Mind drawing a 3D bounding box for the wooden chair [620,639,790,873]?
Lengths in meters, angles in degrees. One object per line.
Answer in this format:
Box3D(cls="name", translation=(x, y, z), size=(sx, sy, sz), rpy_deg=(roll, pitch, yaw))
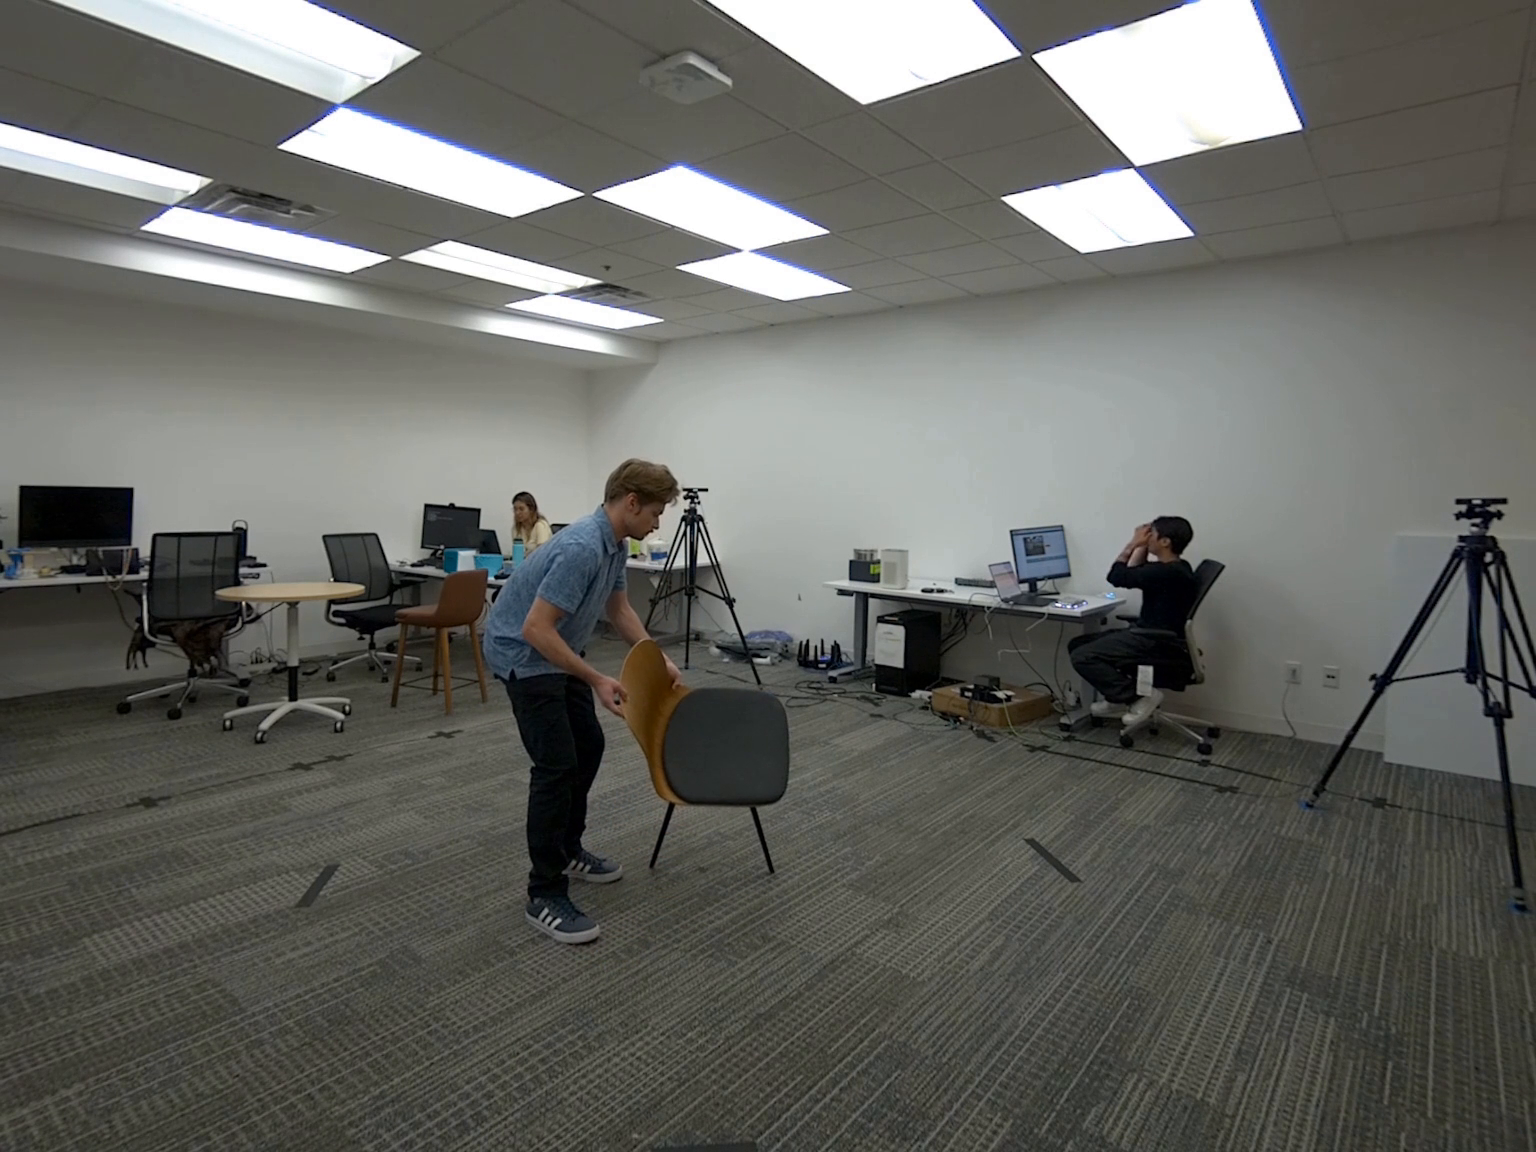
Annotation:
Box3D(cls="wooden chair", translation=(-0.197, 0.618, 2.977), size=(0.526, 0.850, 0.491), rpy_deg=(-1, 43, 4))
